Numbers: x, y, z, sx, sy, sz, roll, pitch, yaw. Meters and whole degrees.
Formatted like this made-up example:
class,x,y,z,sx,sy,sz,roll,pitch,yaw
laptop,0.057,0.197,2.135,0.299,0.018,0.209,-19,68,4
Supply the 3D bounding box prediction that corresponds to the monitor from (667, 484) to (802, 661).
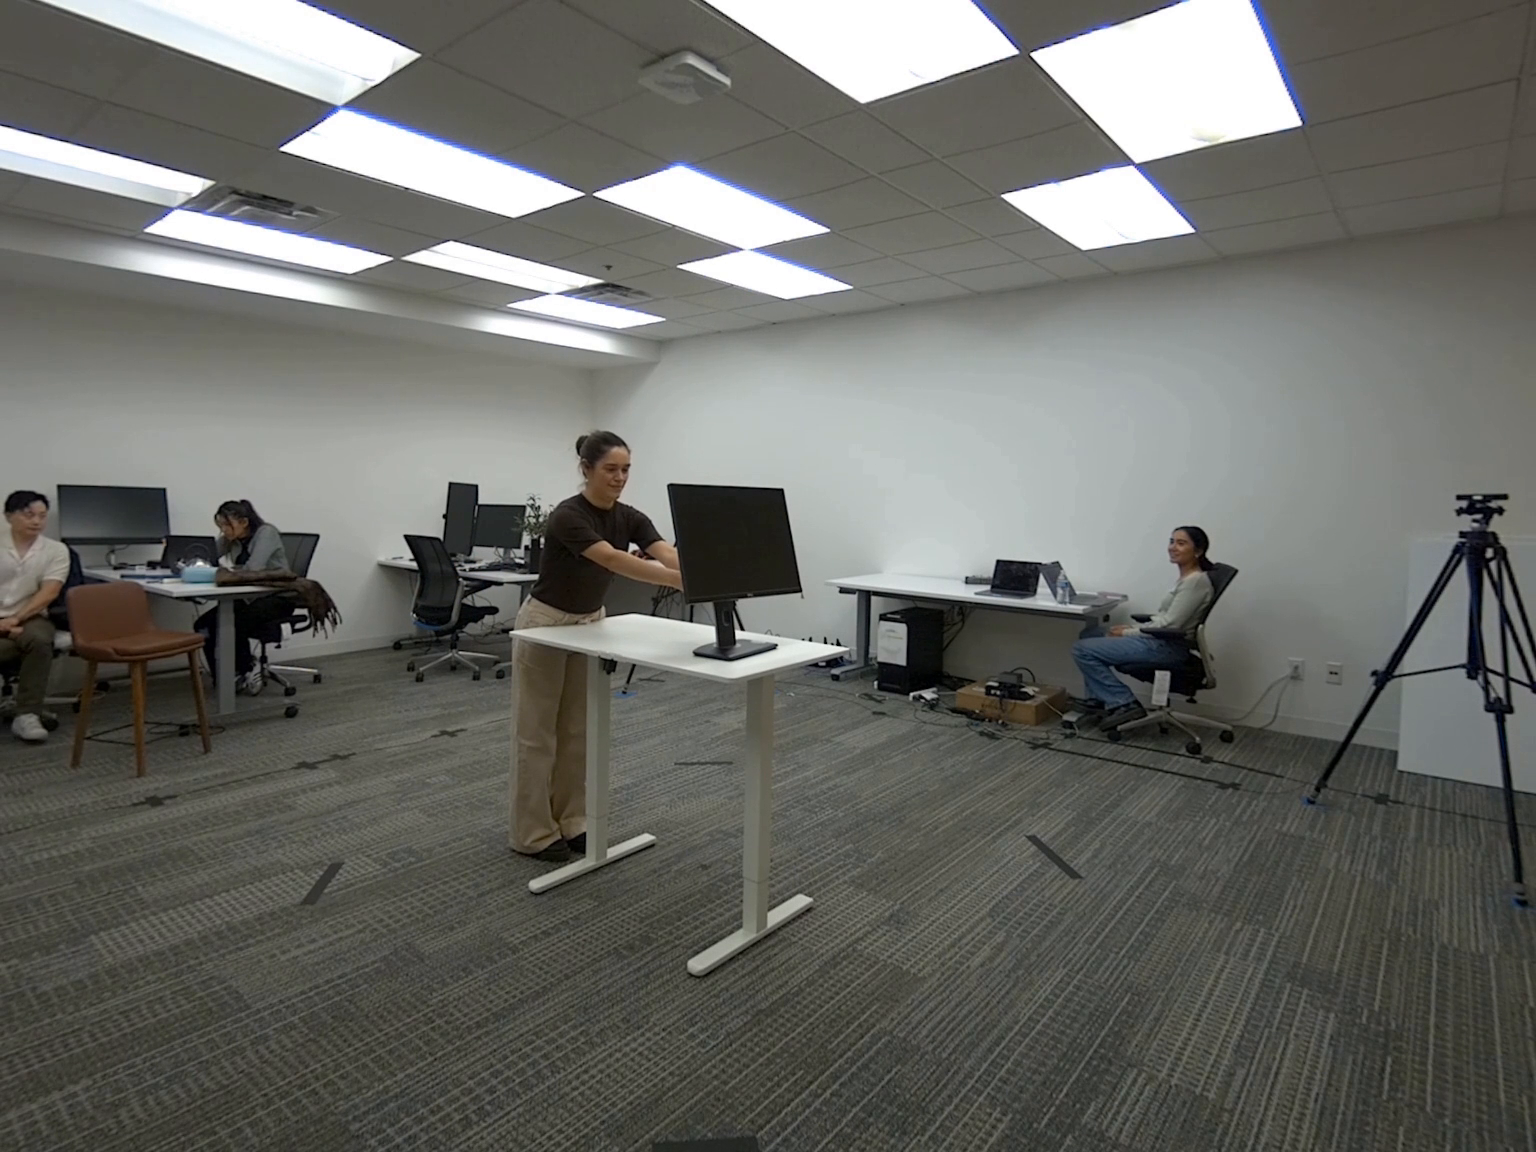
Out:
class,x,y,z,sx,sy,sz,roll,pitch,yaw
monitor,-0.117,-0.018,2.635,0.193,0.522,0.523,0,2,38
